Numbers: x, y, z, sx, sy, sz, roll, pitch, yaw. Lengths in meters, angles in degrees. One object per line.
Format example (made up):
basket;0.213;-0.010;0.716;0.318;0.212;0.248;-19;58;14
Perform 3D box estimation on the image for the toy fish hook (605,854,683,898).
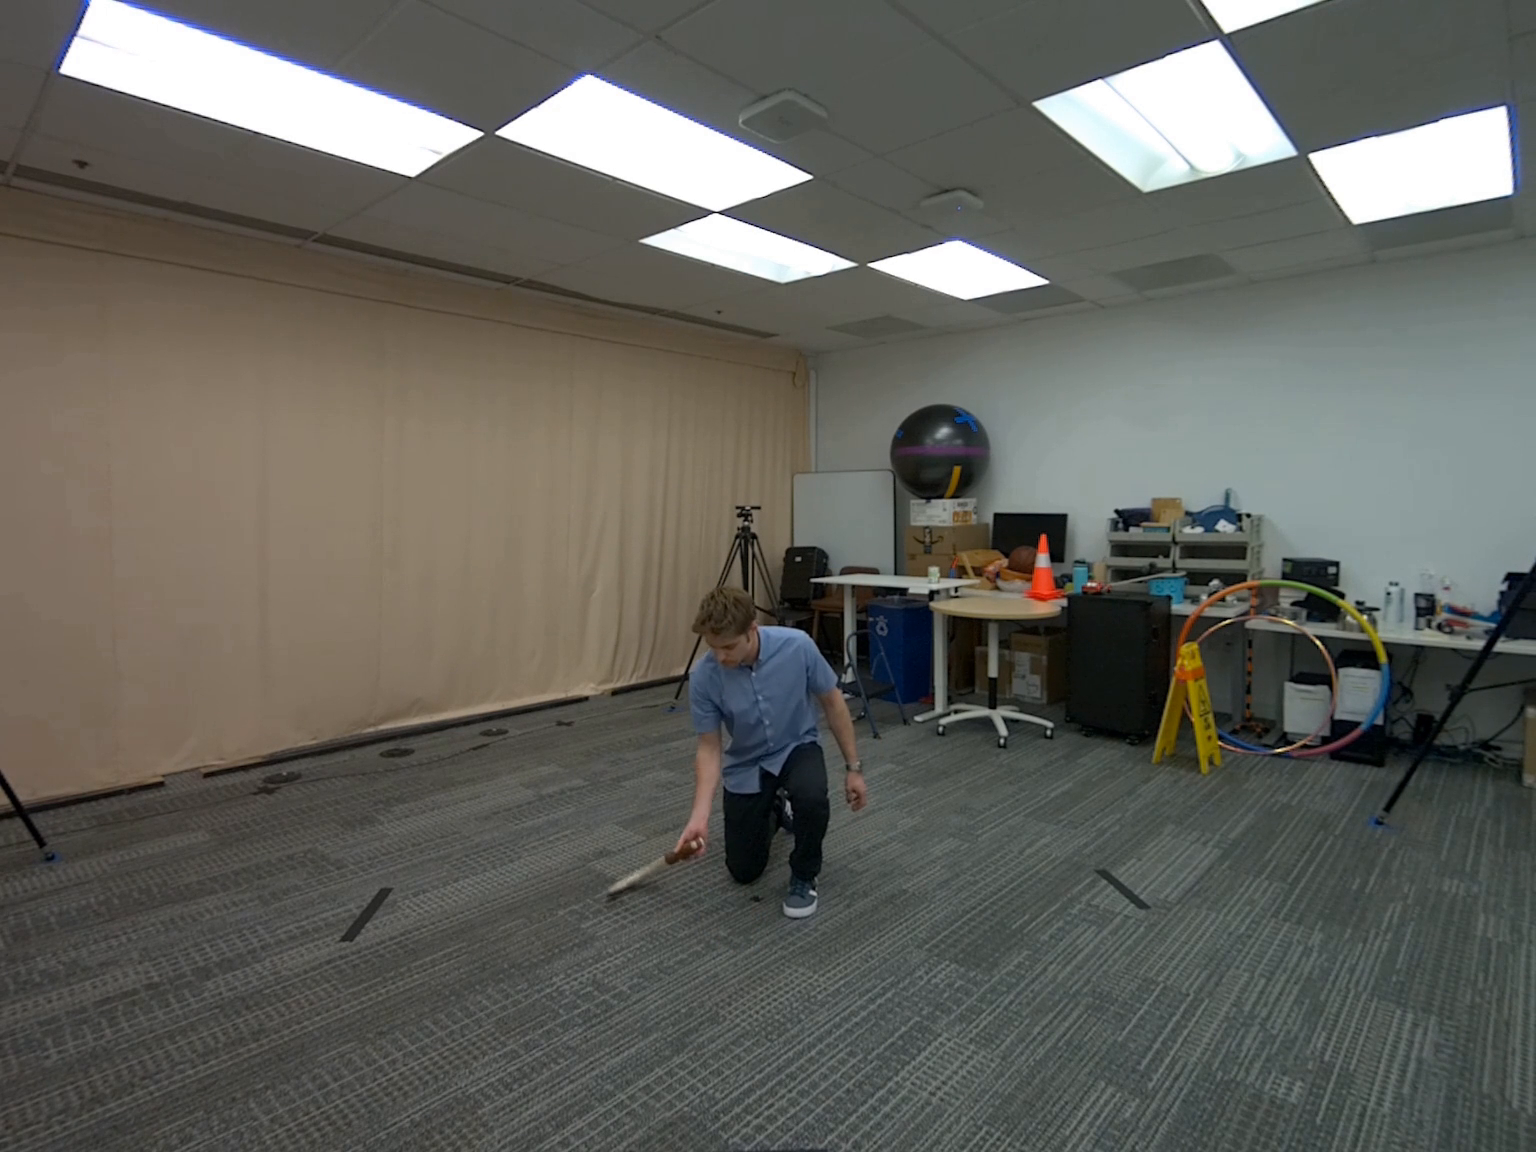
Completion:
toy fish hook;-0.398;1.015;2.897;0.219;0.049;0.512;-20;-15;-45
